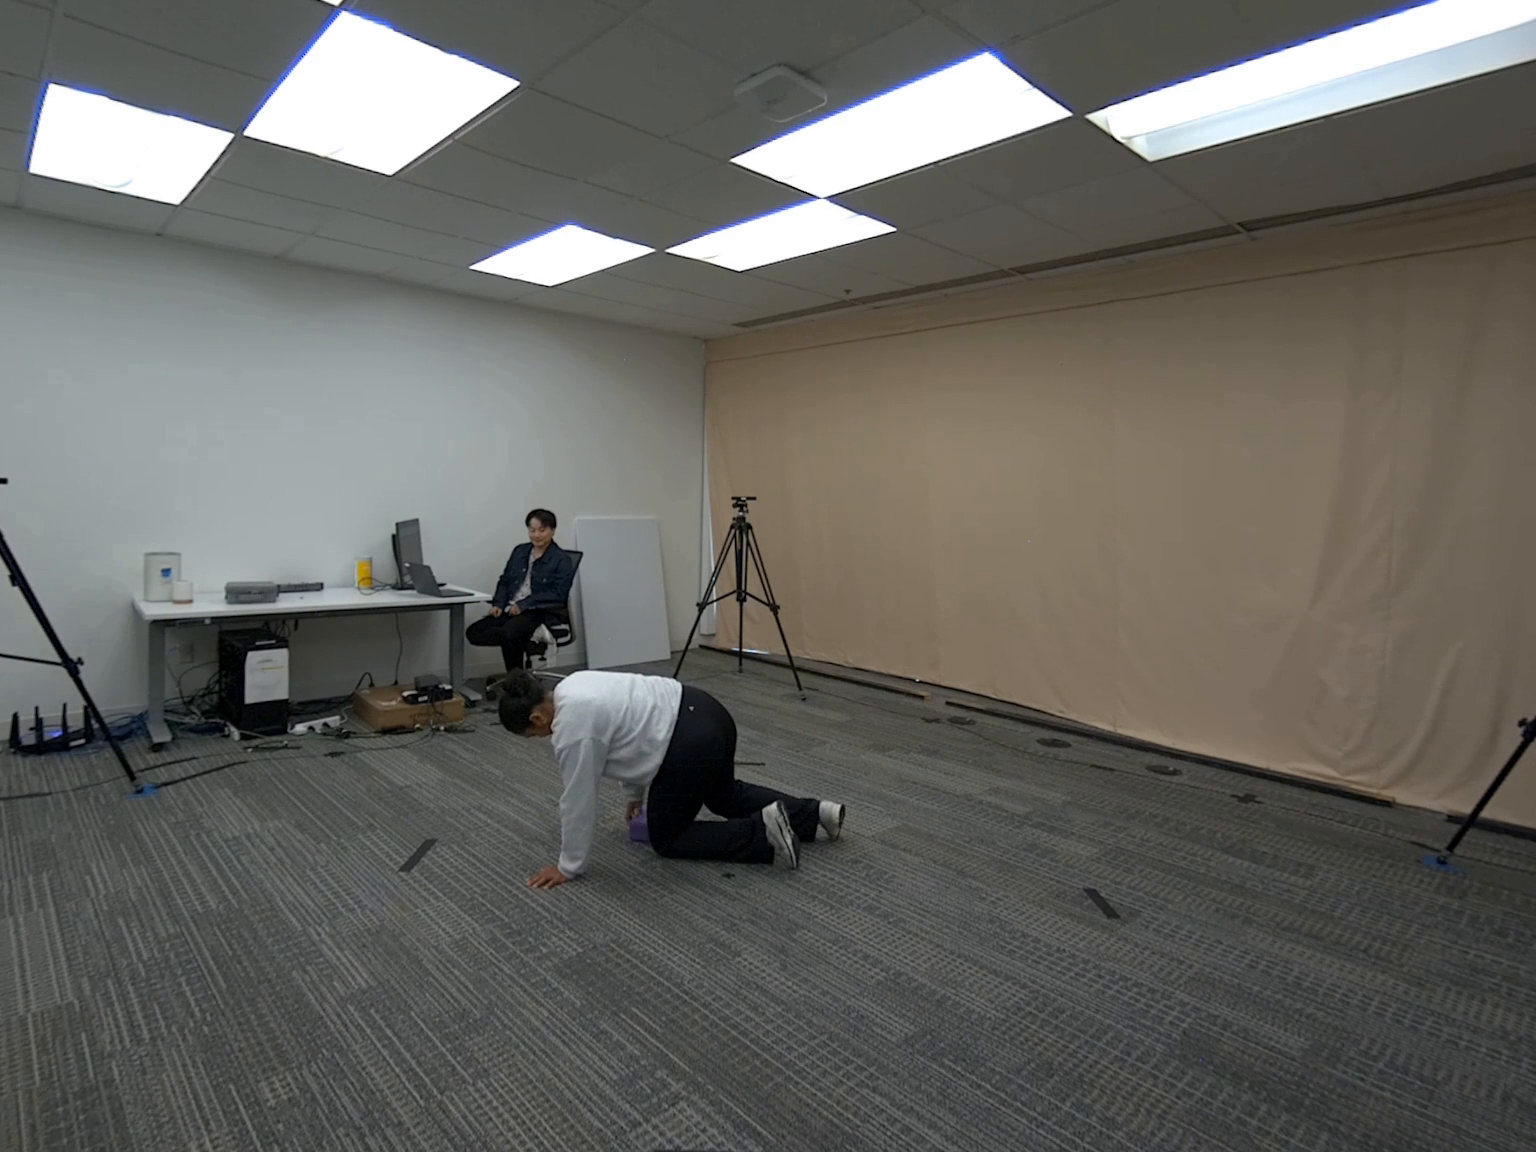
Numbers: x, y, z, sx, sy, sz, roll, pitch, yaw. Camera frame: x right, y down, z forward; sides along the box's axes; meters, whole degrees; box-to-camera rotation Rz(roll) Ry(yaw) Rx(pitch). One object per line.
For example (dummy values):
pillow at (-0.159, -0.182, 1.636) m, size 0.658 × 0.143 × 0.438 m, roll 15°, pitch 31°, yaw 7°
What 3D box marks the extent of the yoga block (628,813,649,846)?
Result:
yoga block at (-0.465, 1.022, 3.491) m, size 0.150 × 0.076 × 0.228 m, roll 1°, pitch 5°, yaw 8°
